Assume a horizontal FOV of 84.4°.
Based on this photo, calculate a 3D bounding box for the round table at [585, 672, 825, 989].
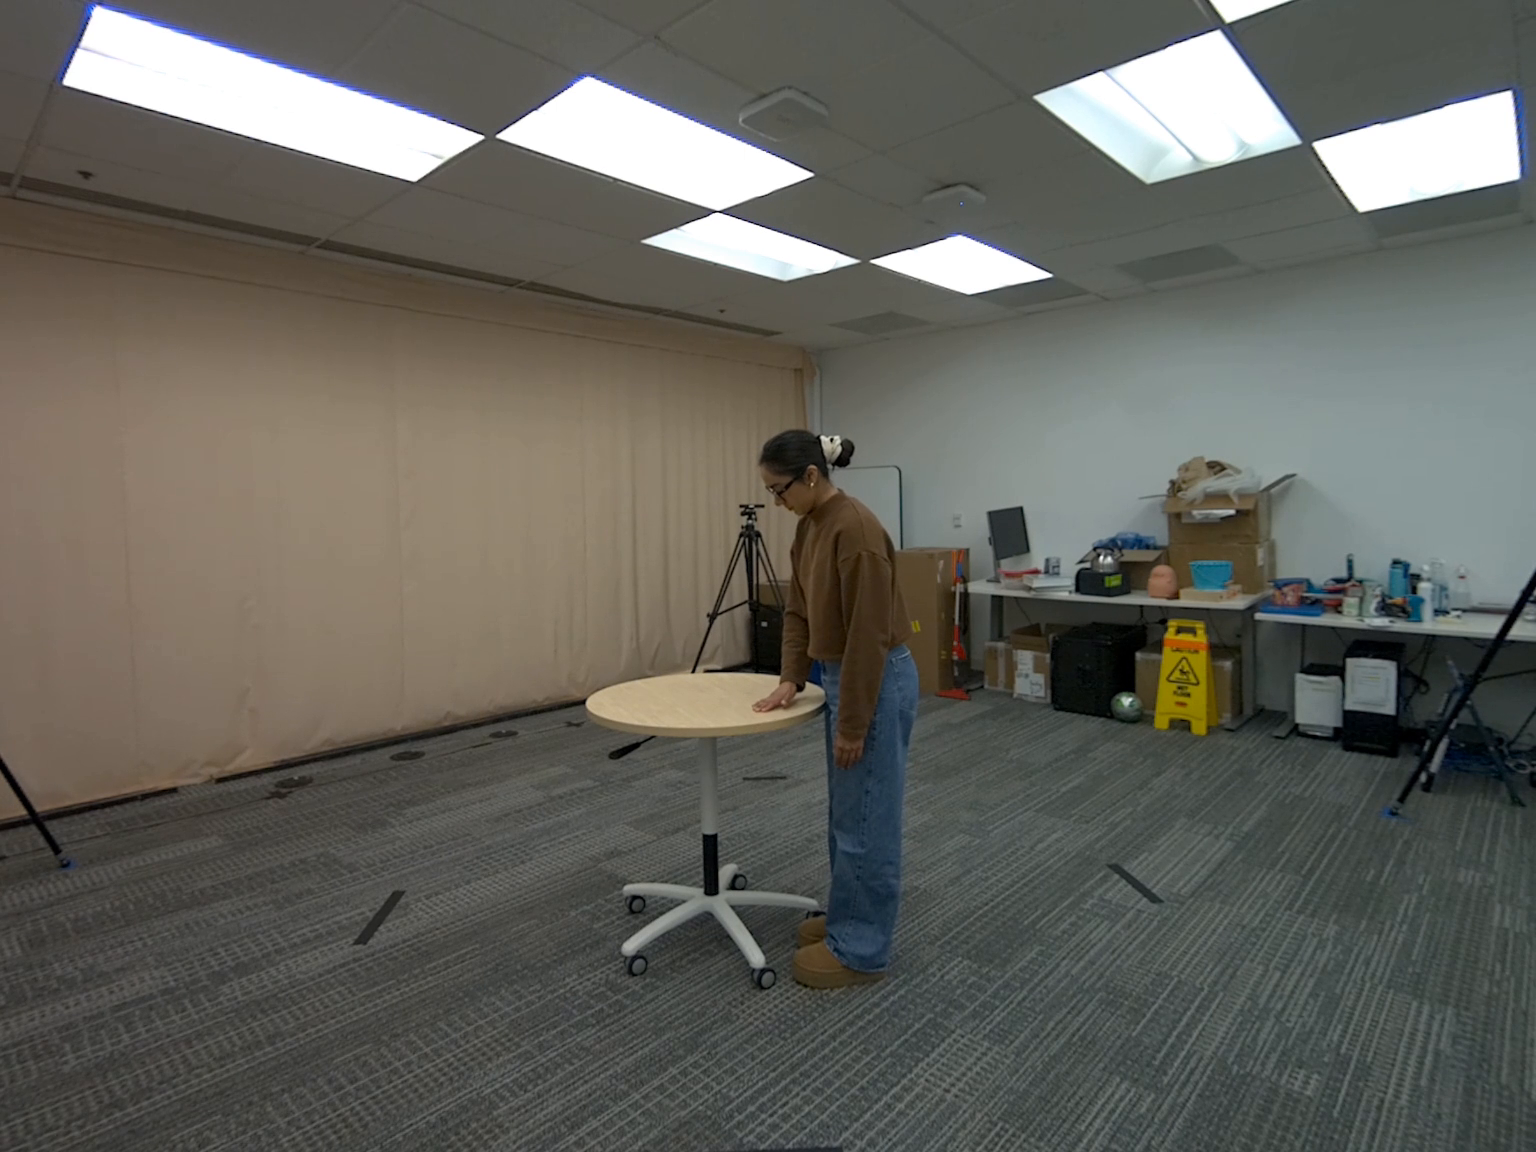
[{"bbox_3d":[-0.188,0.780,2.711,0.763,0.792,0.767,-1,4,-2],"label":"round table"}]
